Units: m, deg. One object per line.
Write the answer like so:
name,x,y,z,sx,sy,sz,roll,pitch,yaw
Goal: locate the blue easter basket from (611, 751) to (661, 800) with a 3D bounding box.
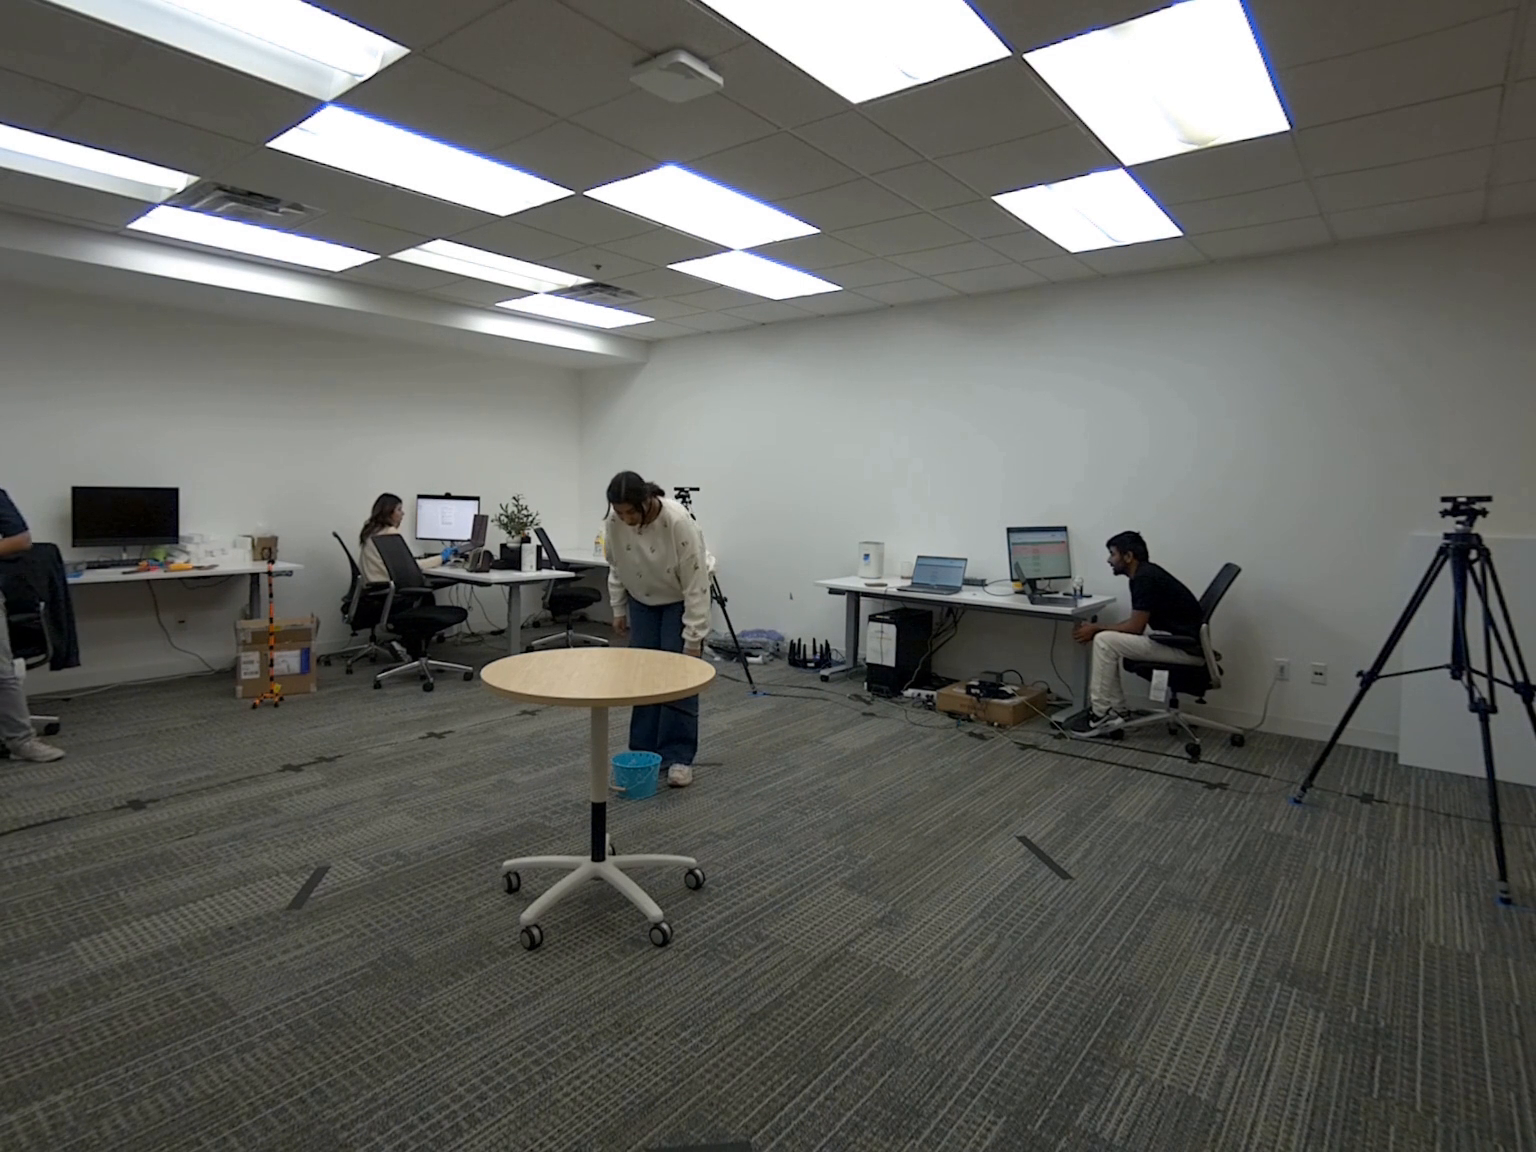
blue easter basket,-0.620,0.908,3.896,0.243,0.155,0.245,0,4,-2
